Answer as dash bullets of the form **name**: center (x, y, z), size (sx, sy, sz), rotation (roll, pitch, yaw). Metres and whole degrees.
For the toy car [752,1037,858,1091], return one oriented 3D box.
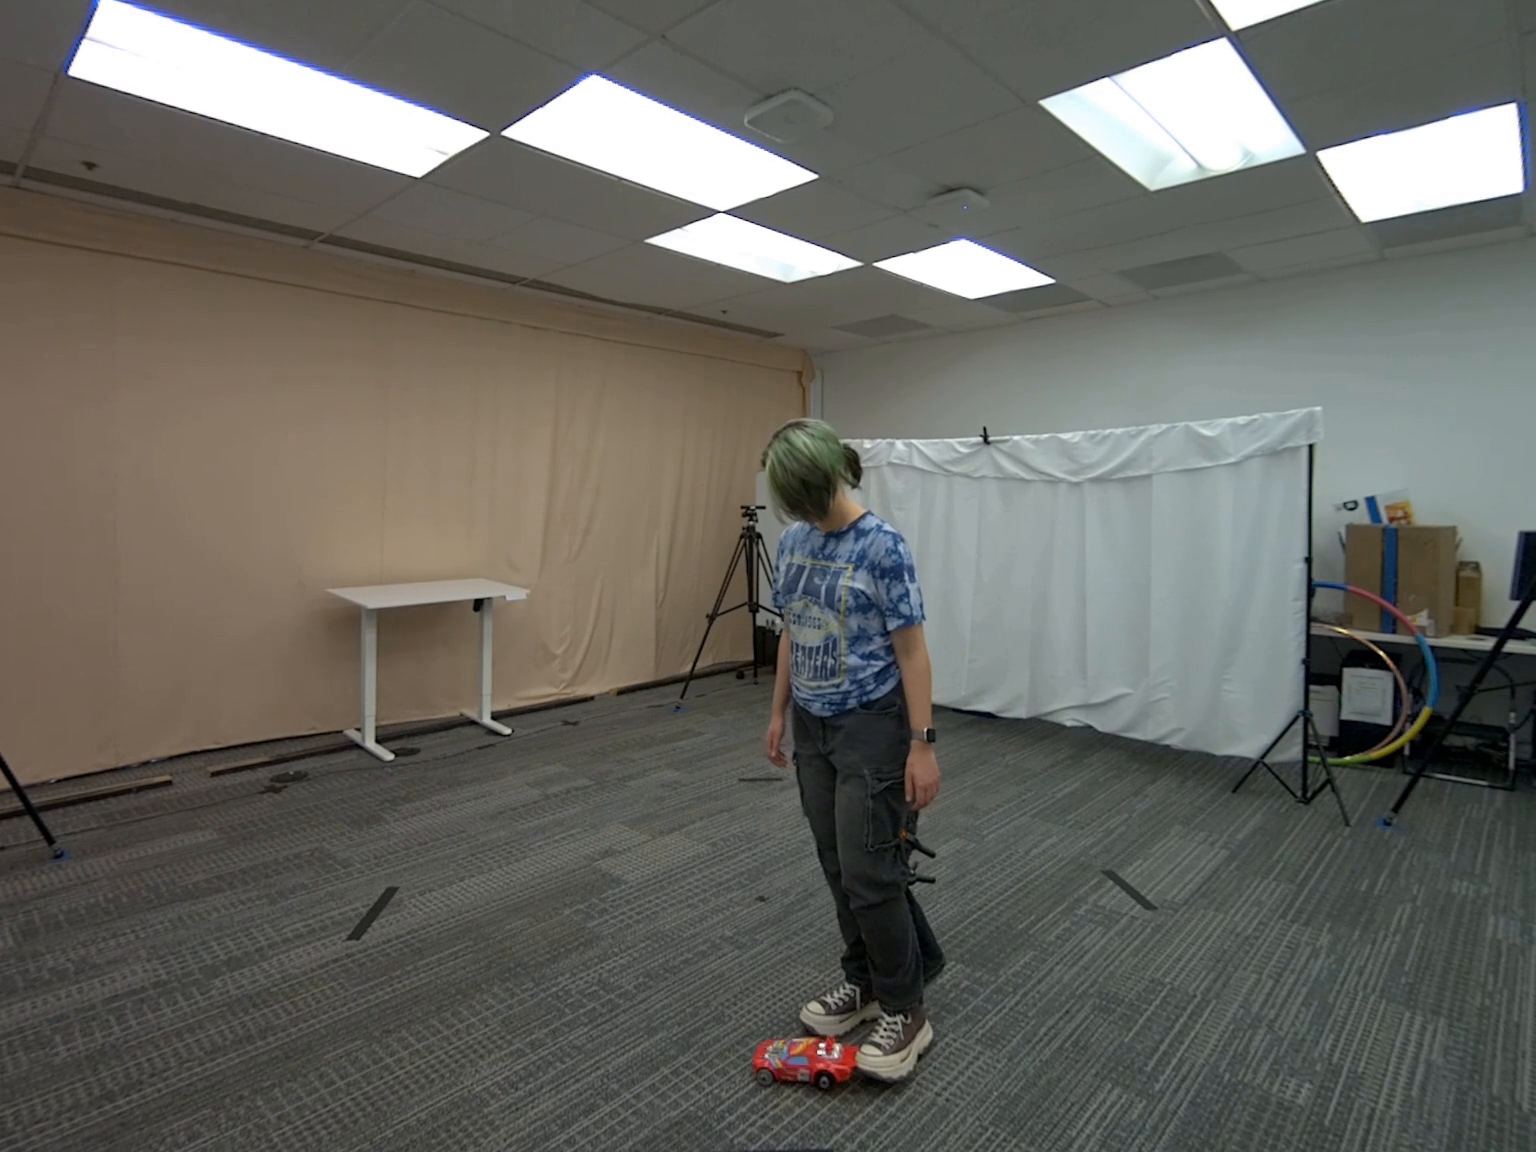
- **toy car**: center (0.102, 1.186, 2.047), size (0.257, 0.083, 0.129), rotation (-17, 0, 13)
